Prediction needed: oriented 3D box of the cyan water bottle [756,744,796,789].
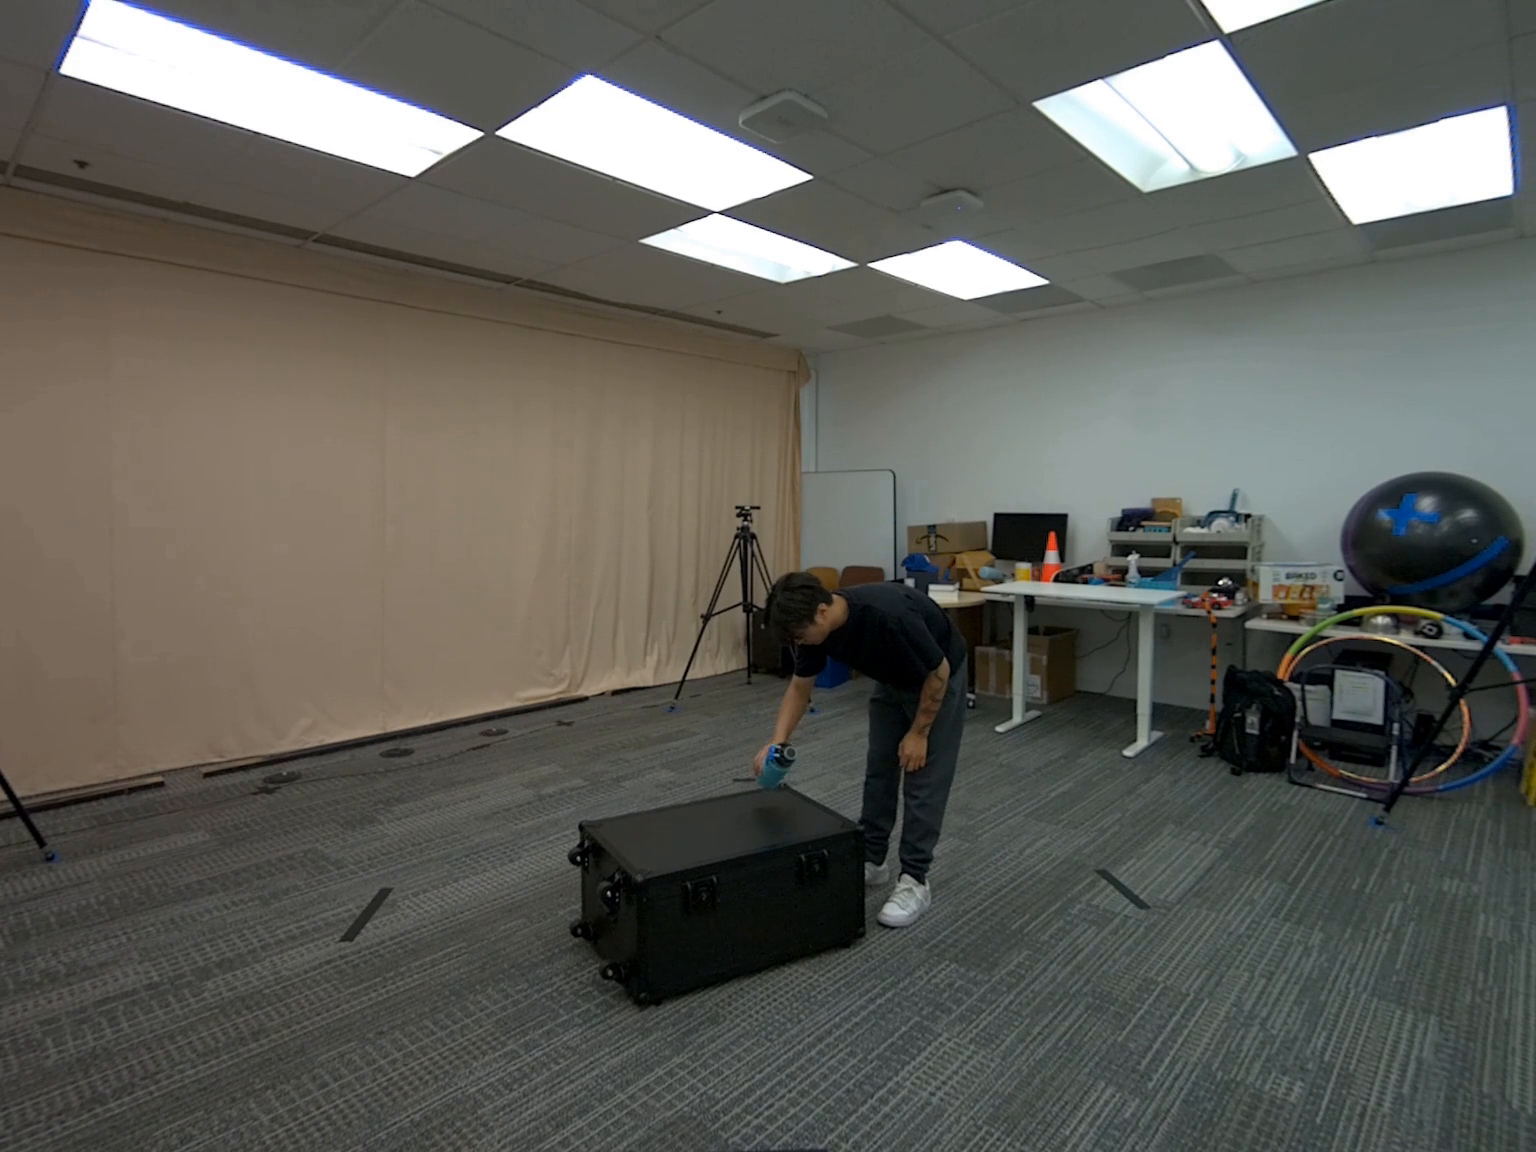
[{"bbox_3d":[0.033,0.628,2.781,0.091,0.094,0.281,0,-29,-11],"label":"cyan water bottle"}]
